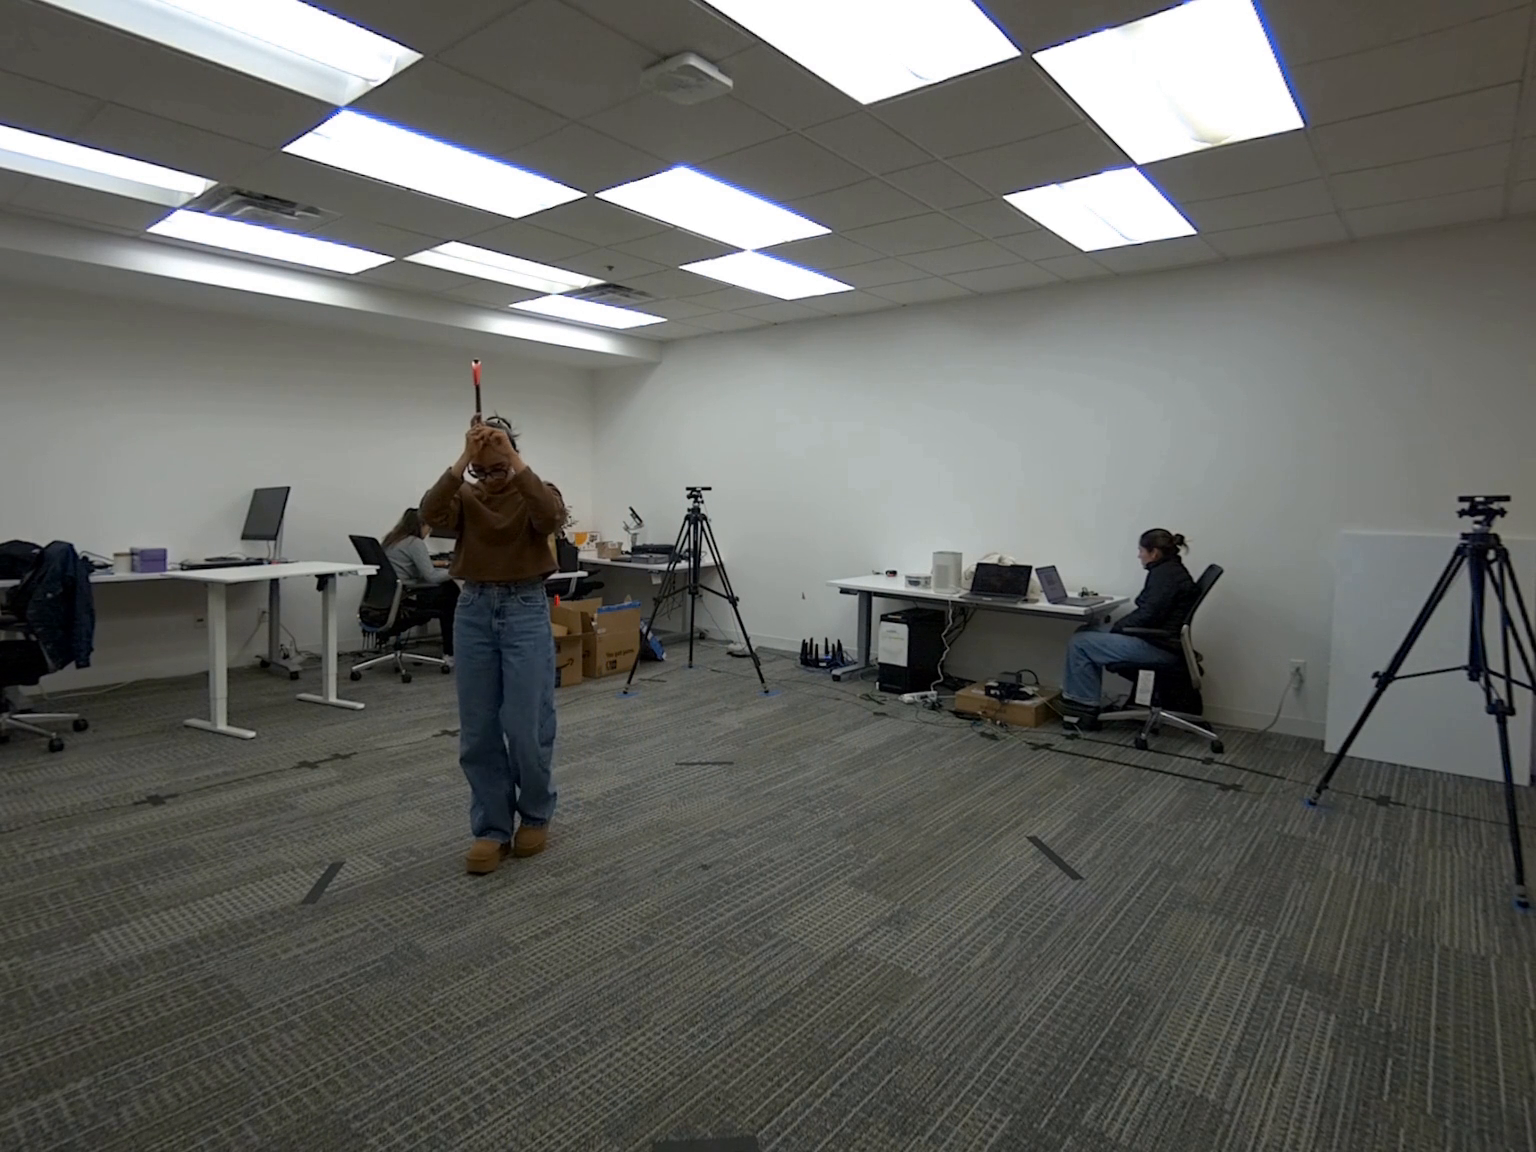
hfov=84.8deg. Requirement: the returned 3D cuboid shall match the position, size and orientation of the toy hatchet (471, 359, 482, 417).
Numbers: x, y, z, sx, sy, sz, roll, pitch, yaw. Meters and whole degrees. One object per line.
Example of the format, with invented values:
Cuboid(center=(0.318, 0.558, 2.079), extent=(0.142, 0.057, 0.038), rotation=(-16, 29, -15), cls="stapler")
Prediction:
Cuboid(center=(-1.001, -0.608, 2.893), extent=(0.029, 0.269, 0.133), rotation=(0, 3, -15), cls="toy hatchet")
